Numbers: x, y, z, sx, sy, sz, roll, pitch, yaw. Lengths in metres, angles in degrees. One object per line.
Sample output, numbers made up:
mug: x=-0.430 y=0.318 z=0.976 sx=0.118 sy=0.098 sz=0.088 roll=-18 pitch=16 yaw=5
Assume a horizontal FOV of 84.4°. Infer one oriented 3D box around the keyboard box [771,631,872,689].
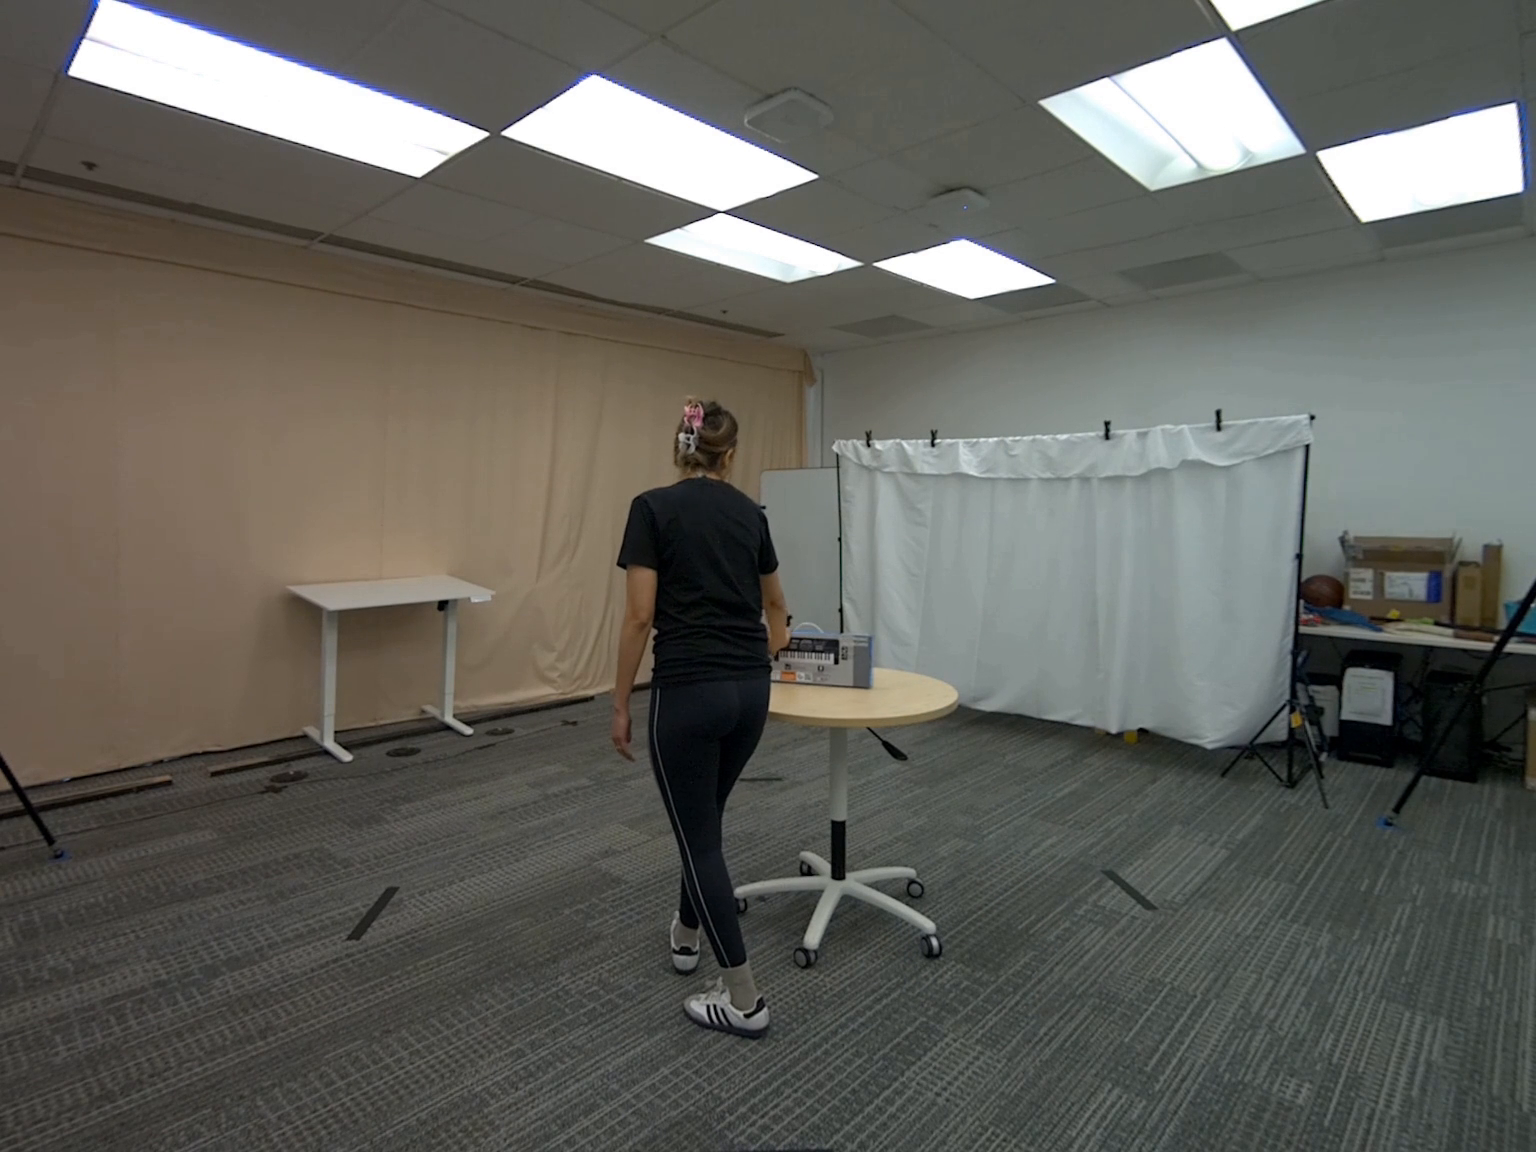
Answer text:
keyboard box: x=0.151 y=0.281 z=2.873 sx=0.446 sy=0.176 sz=0.058 roll=2 pitch=0 yaw=19
